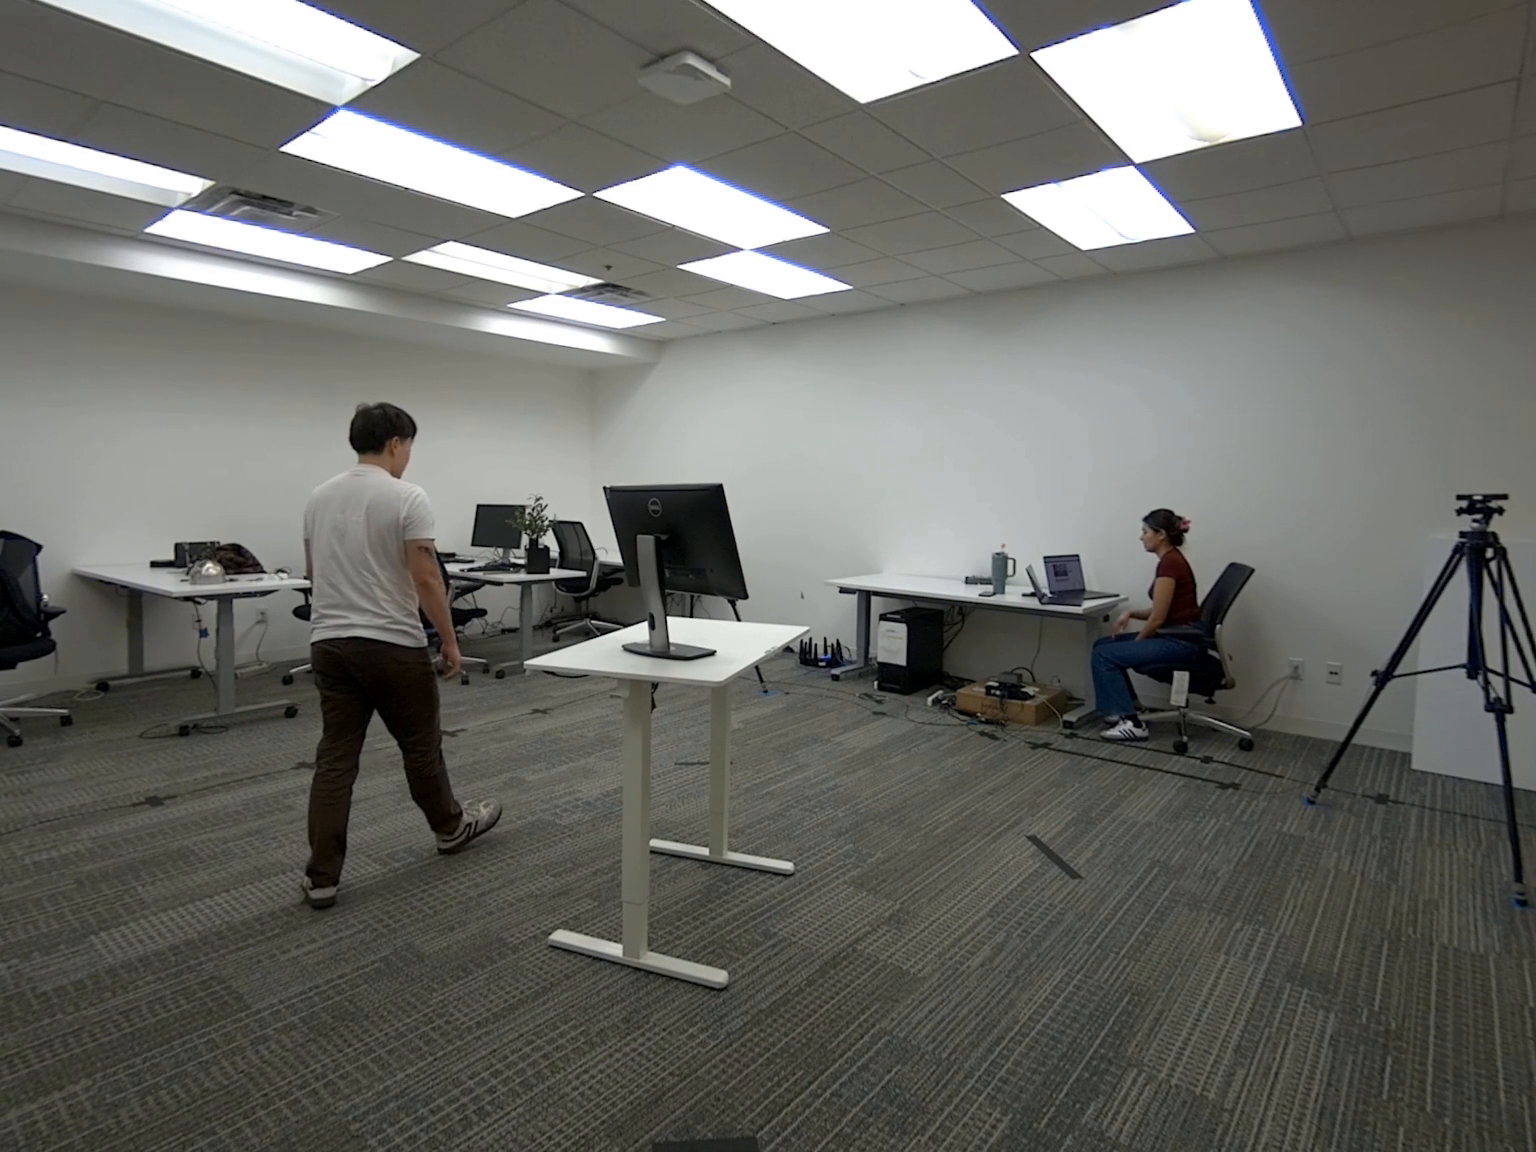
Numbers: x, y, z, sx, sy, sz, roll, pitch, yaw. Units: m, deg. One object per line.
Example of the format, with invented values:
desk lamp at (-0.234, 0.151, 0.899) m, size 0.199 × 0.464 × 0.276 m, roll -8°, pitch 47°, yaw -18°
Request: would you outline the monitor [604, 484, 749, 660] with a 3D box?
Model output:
monitor at (-0.324, -0.020, 2.590) m, size 0.557 × 0.519 × 0.182 m, roll 3°, pitch 8°, yaw 41°
